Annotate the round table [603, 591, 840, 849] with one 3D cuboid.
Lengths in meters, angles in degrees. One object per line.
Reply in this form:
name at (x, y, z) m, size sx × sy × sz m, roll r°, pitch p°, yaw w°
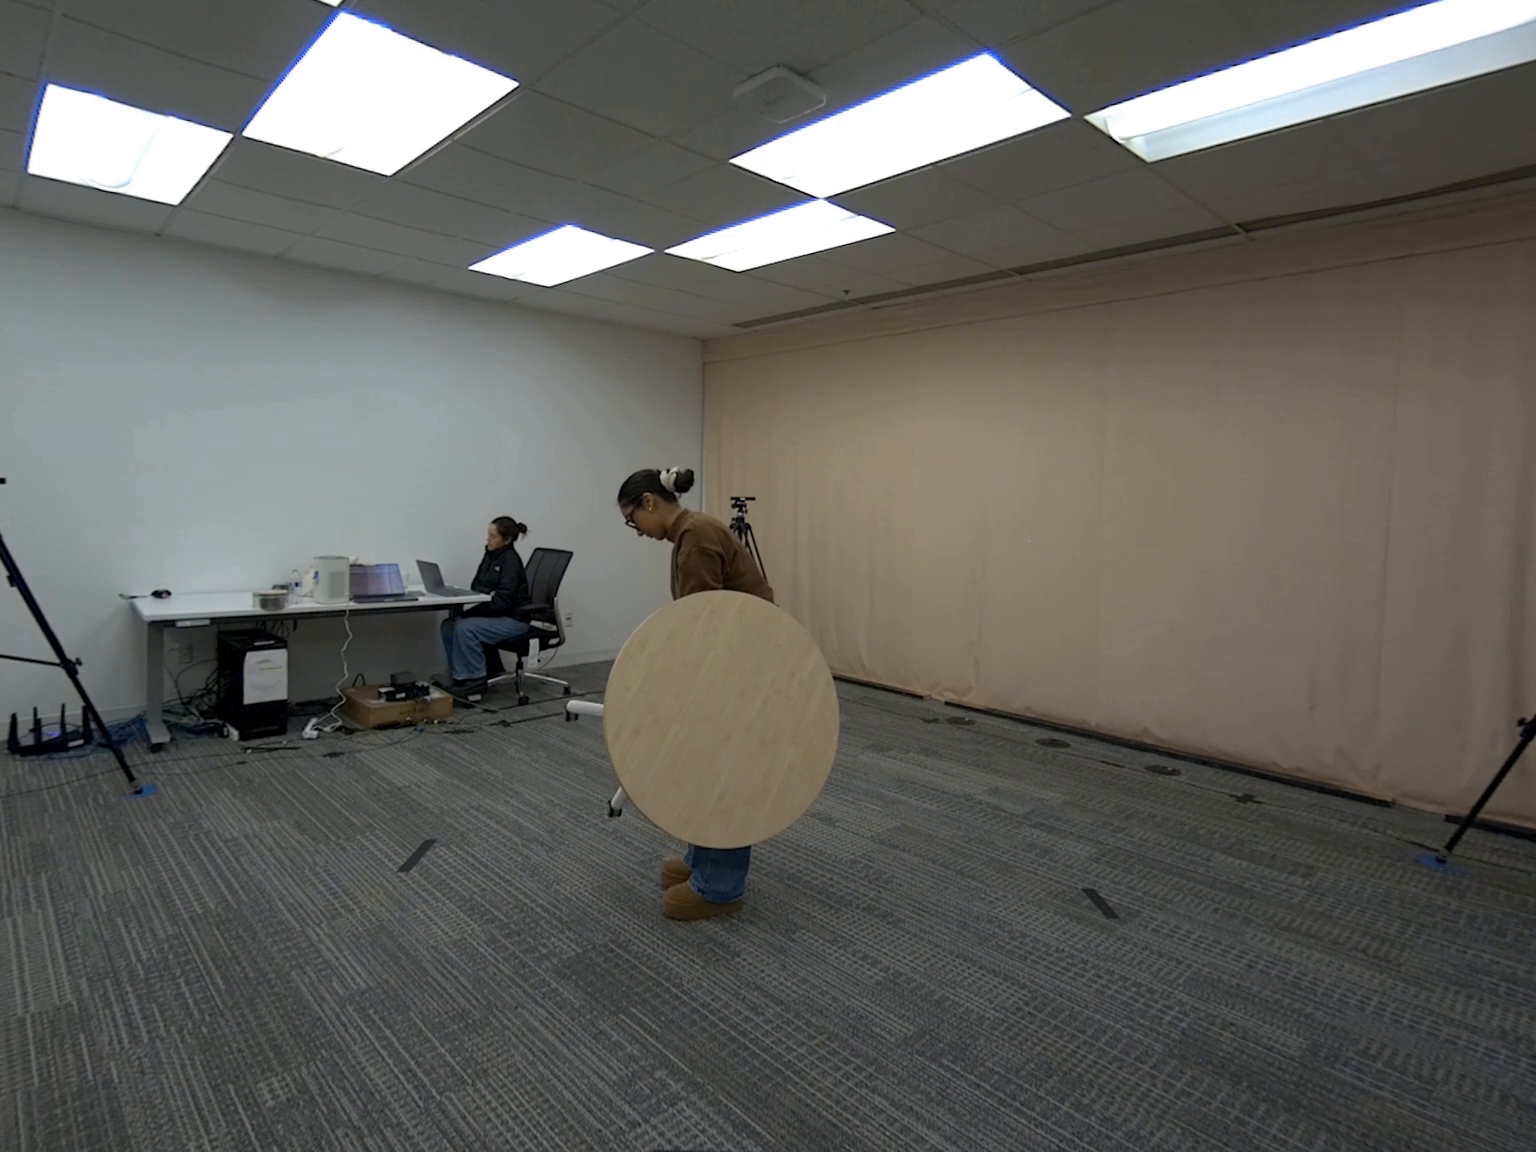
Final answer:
round table at (-0.294, 0.499, 2.913) m, size 0.750 × 0.771 × 0.801 m, roll -1°, pitch -11°, yaw -24°
